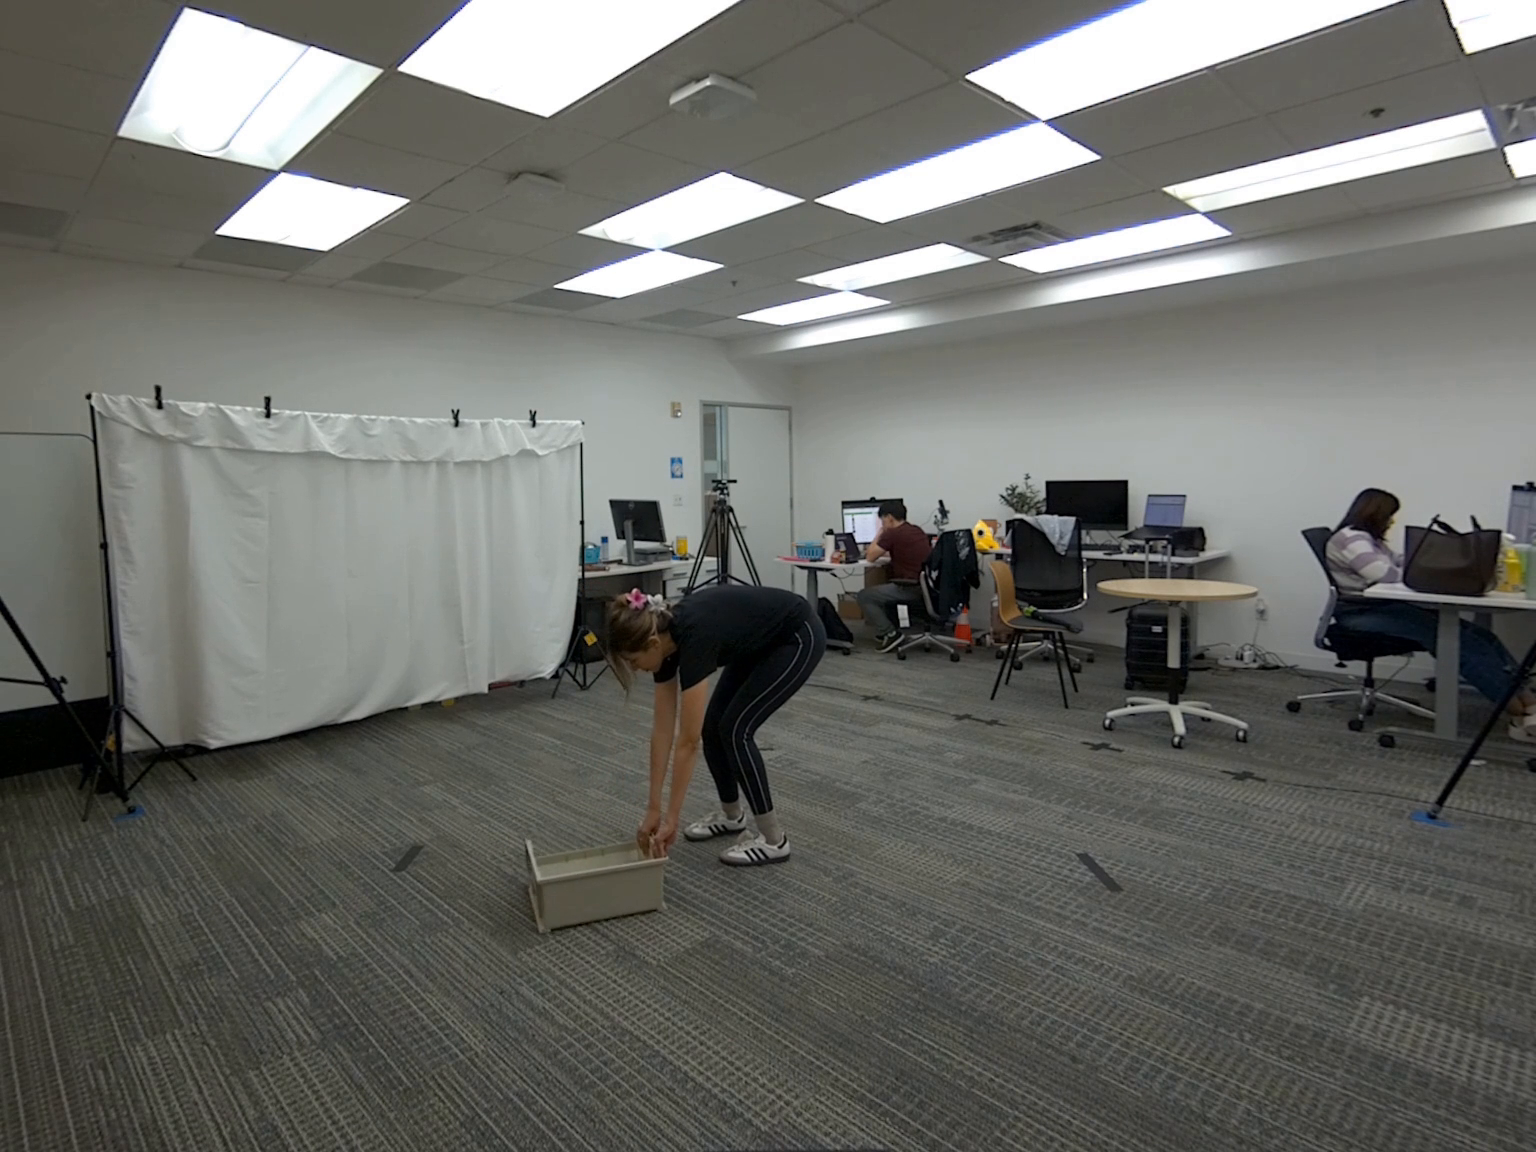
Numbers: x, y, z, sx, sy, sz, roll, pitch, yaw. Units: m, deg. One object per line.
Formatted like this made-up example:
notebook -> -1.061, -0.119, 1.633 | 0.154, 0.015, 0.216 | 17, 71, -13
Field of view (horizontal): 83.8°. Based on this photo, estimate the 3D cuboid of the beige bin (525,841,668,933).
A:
beige bin -> -0.588, 0.994, 2.879 | 0.414, 0.188, 0.386 | -2, 7, -21
